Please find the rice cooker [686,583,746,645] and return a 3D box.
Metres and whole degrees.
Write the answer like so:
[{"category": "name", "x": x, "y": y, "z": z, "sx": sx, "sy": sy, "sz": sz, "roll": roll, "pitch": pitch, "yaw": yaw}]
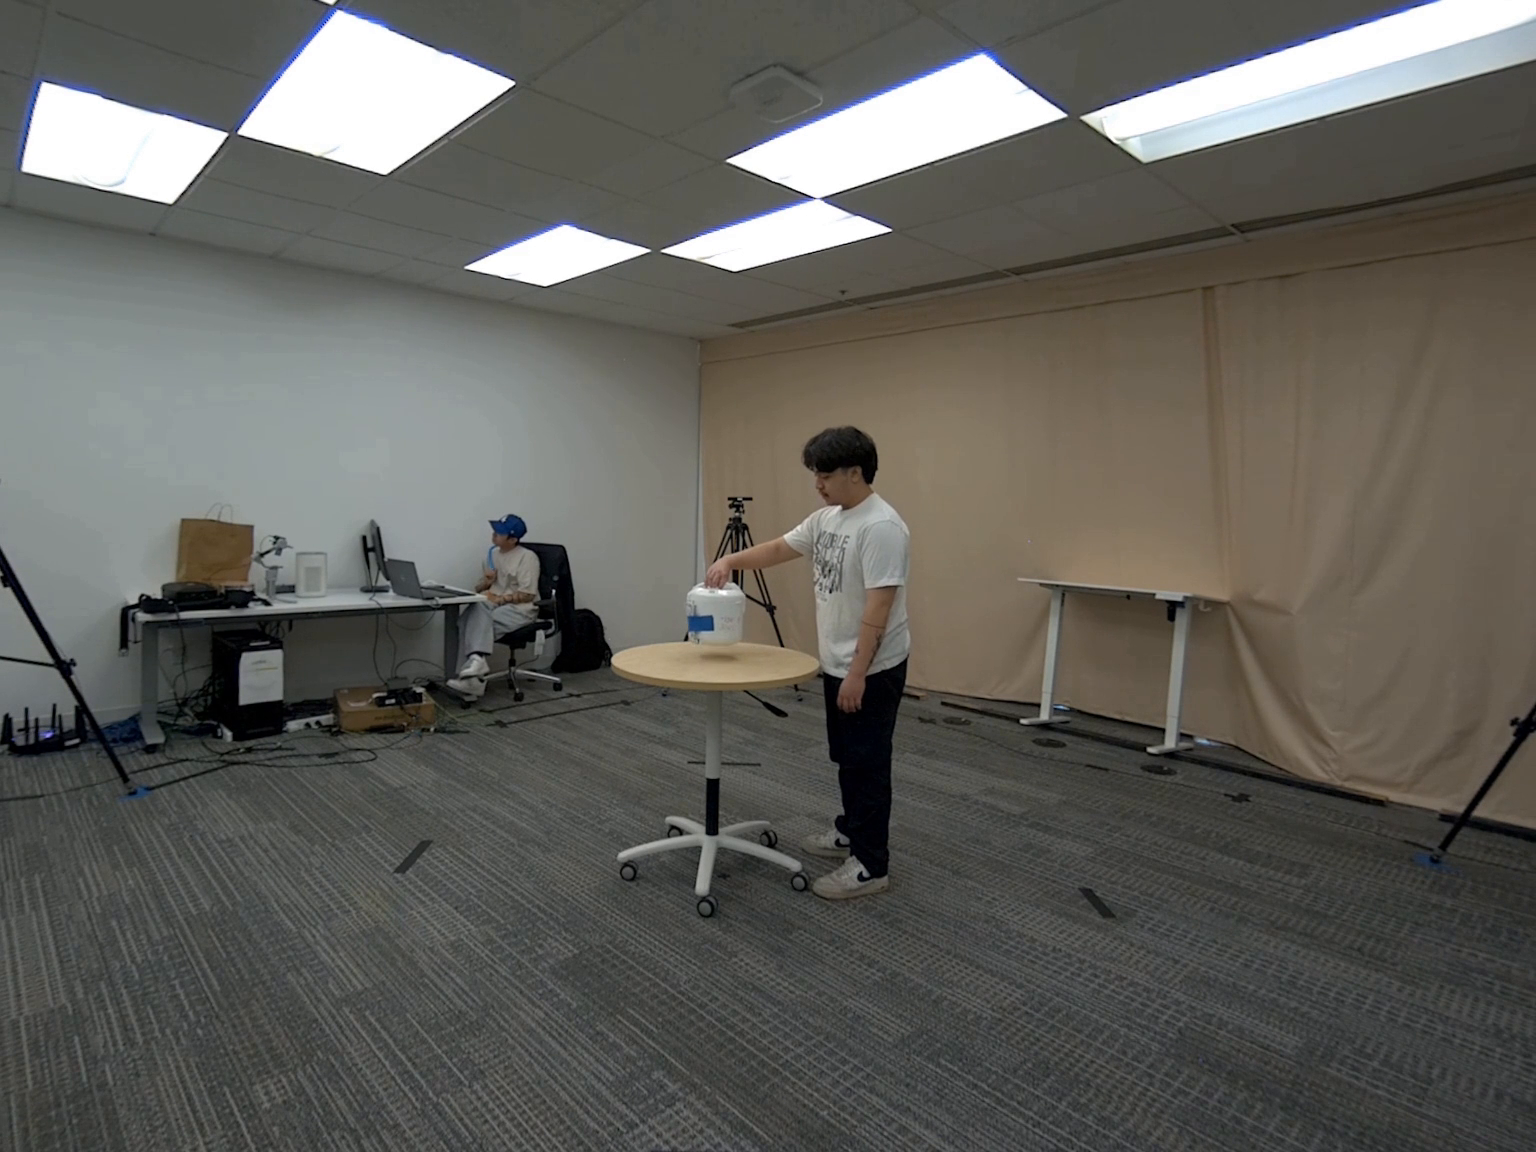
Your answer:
[{"category": "rice cooker", "x": -0.201, "y": 0.134, "z": 3.145, "sx": 0.220, "sy": 0.232, "sz": 0.218, "roll": 3, "pitch": 4, "yaw": -1}]
